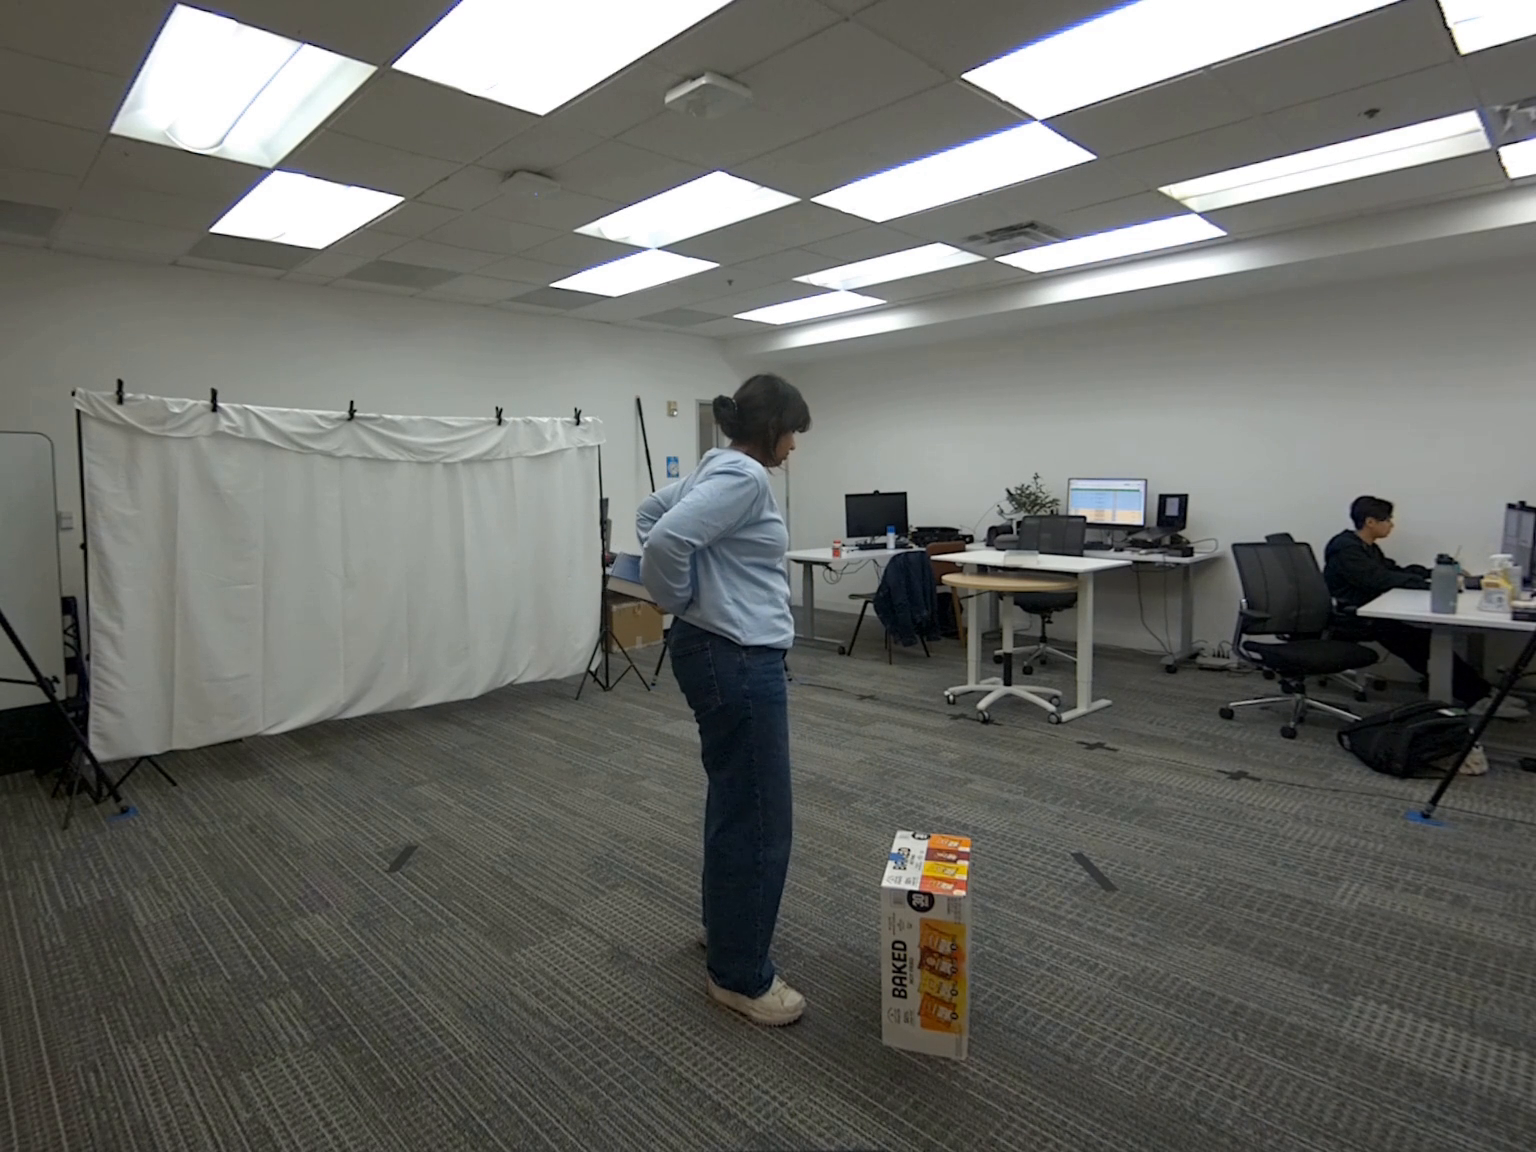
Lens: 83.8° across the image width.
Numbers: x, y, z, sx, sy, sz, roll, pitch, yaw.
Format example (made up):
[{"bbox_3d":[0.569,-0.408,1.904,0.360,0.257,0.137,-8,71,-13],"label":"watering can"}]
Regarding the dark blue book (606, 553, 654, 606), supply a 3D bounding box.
[{"bbox_3d":[-0.359,0.002,2.392,0.163,0.045,0.248,14,15,-5],"label":"dark blue book"}]
